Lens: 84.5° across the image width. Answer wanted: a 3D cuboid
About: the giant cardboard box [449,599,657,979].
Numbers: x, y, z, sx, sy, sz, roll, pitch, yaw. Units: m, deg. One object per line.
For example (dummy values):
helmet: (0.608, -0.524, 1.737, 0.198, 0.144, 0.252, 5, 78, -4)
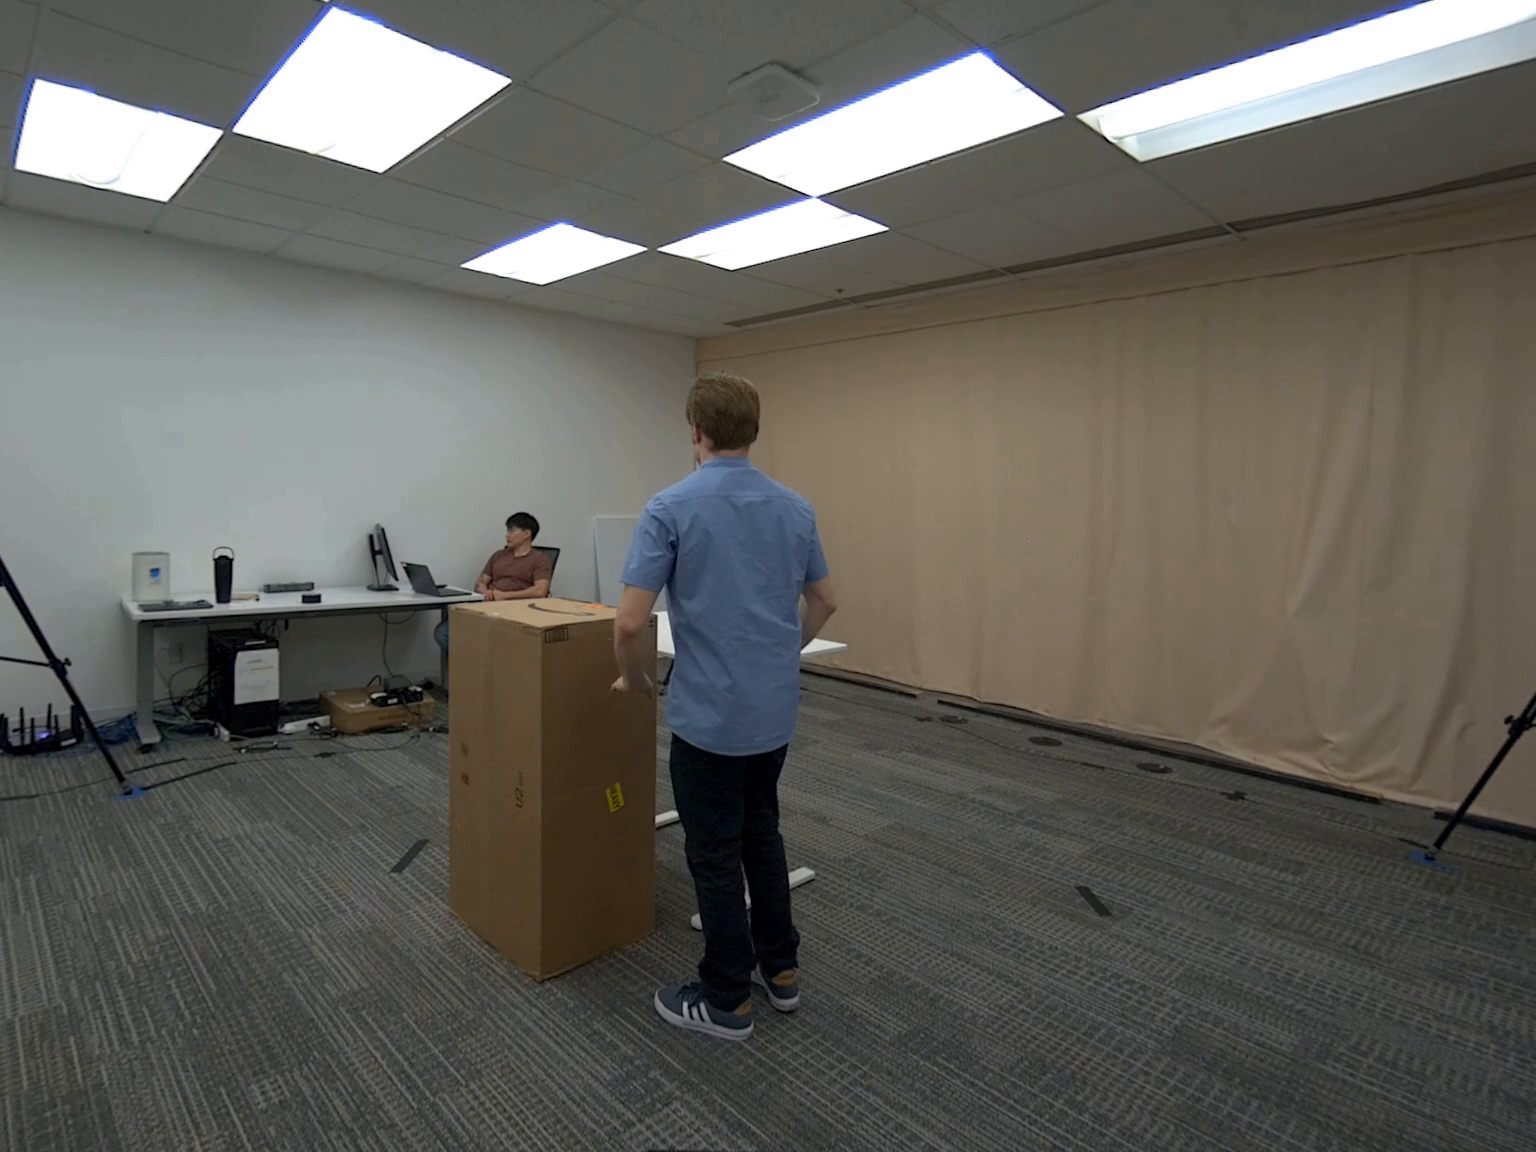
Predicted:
giant cardboard box: (-0.708, 0.619, 2.713, 0.416, 1.023, 0.592, -2, 4, -44)
